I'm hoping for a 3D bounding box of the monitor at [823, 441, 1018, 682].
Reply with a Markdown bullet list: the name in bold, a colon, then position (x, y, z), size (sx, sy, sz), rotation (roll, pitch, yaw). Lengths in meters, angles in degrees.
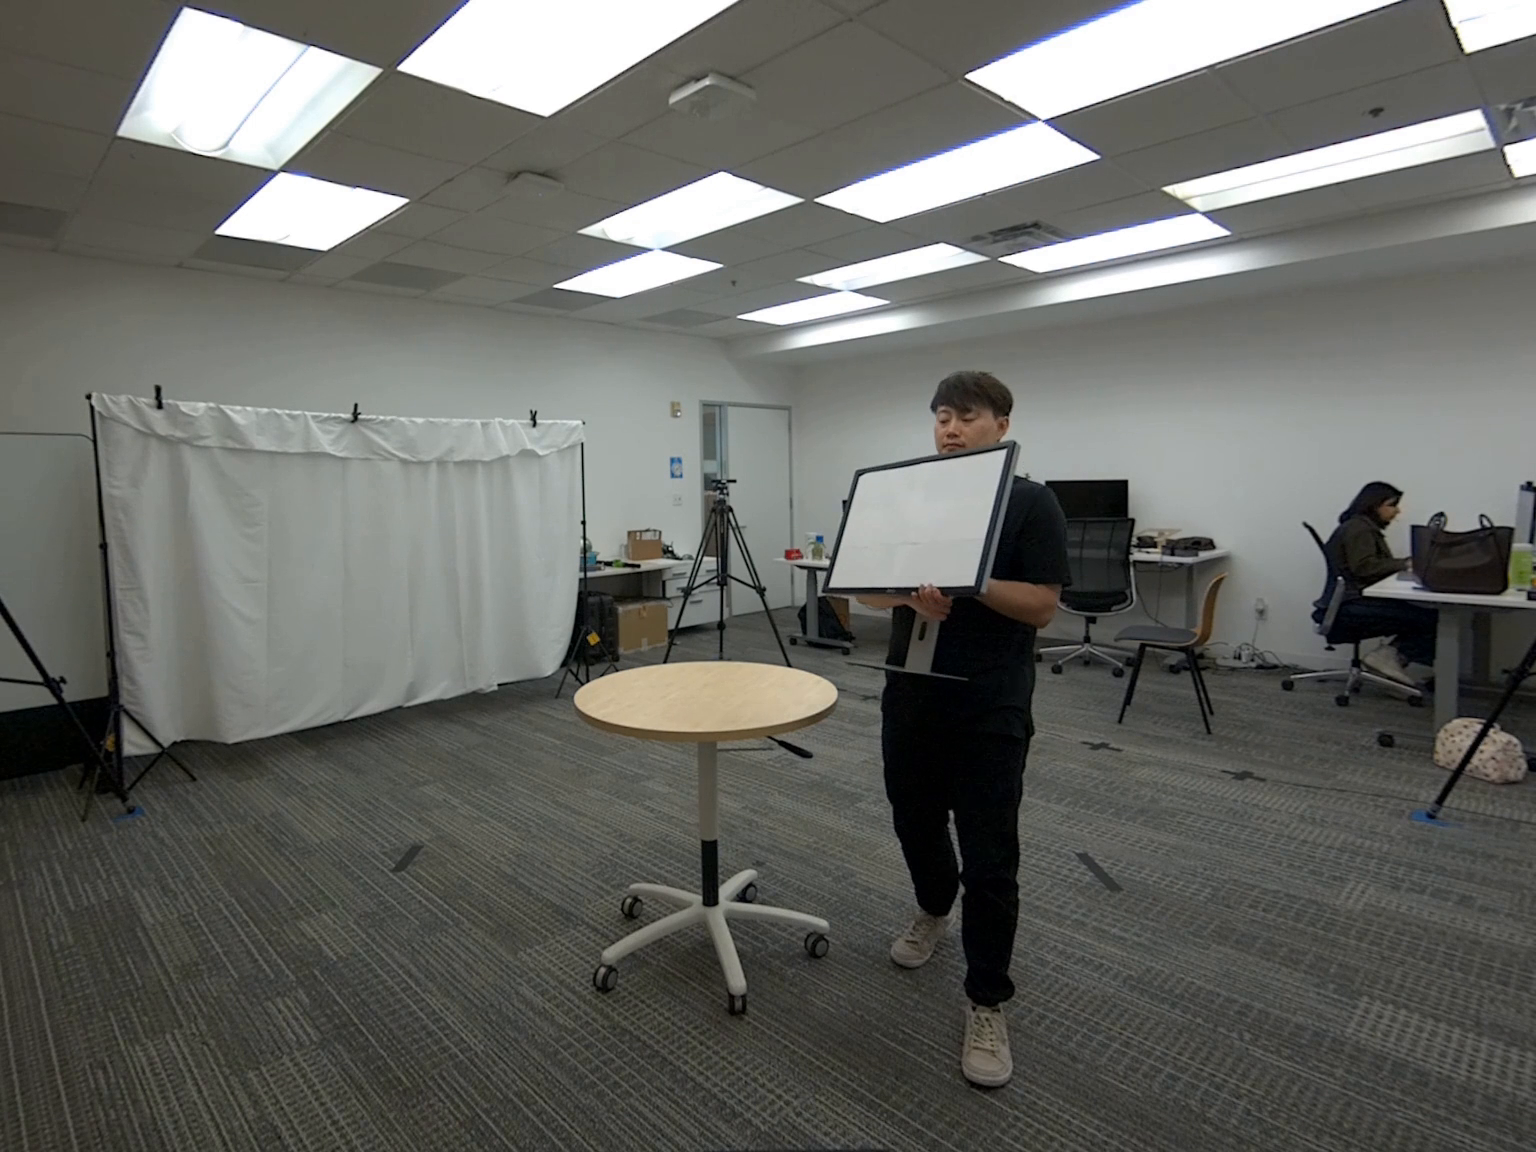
- **monitor**: position (0.373, -0.025, 2.090), size (0.181, 0.525, 0.553), rotation (11, -7, -34)
